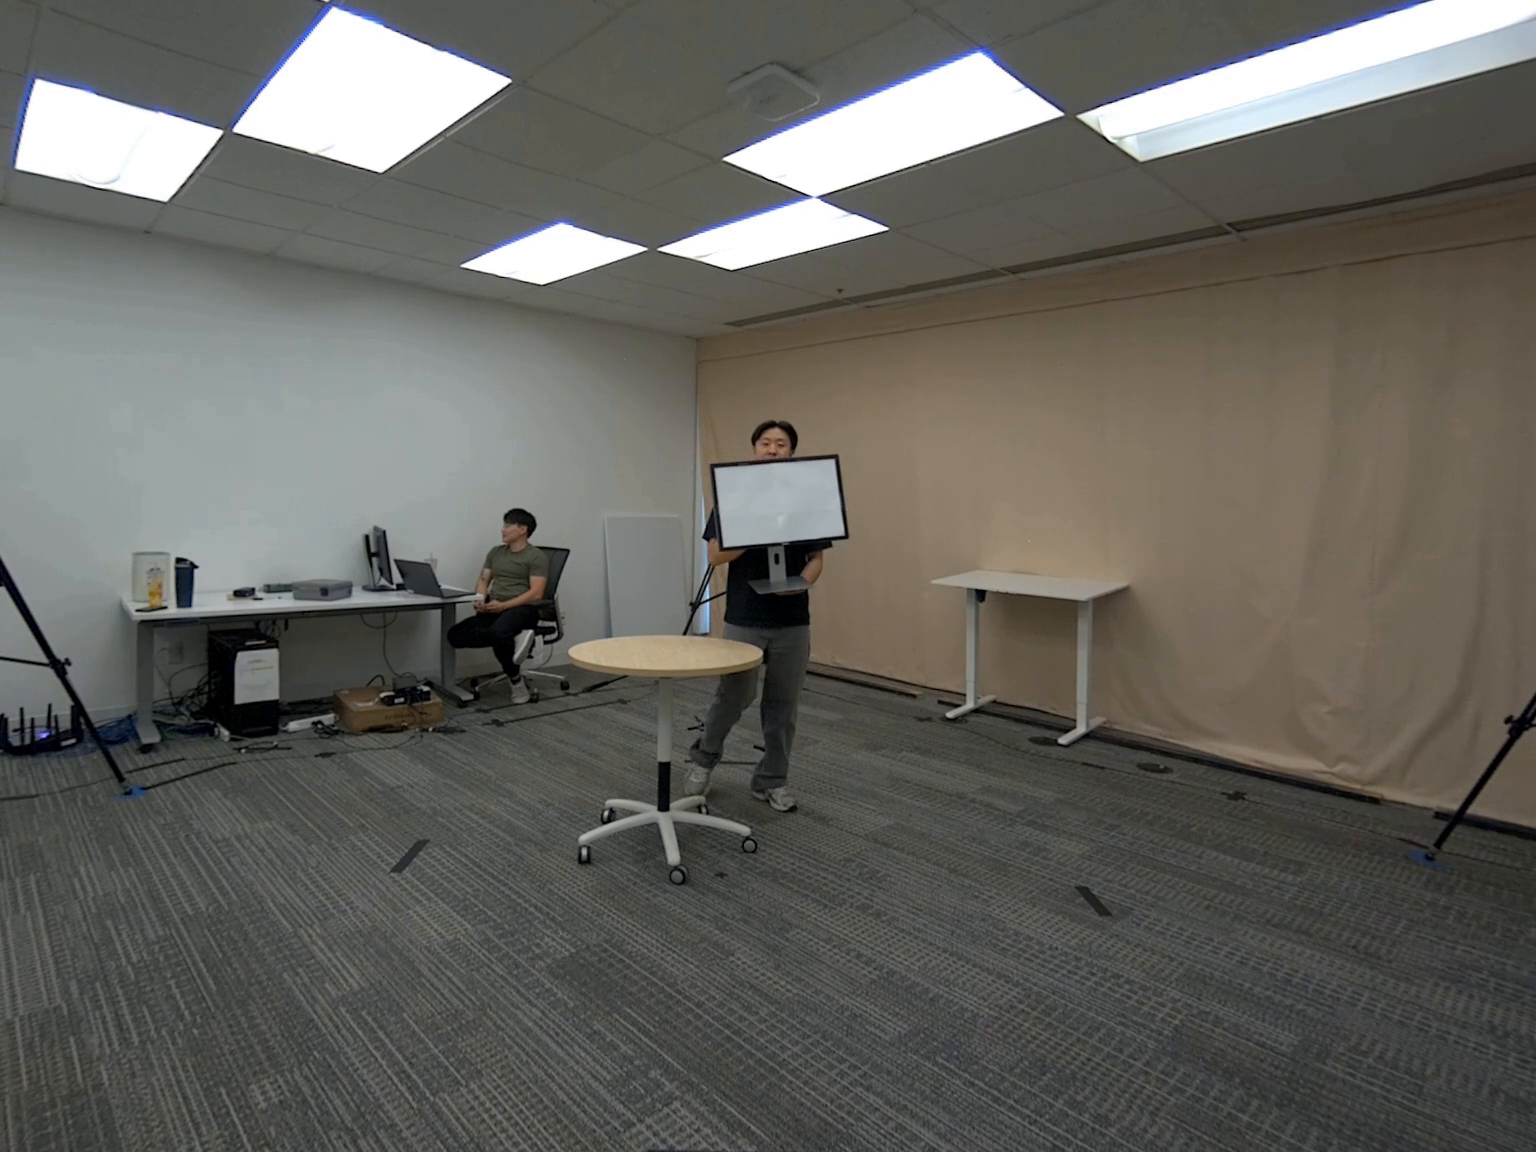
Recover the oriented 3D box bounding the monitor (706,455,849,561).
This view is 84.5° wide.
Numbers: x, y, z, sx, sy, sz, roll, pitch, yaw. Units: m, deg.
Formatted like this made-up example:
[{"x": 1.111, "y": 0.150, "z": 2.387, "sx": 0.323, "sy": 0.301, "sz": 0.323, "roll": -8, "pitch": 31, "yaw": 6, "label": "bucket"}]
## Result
[{"x": 0.027, "y": -0.212, "z": 3.538, "sx": 0.557, "sy": 0.561, "sz": 0.226, "roll": -5, "pitch": 11, "yaw": -11, "label": "monitor"}]
